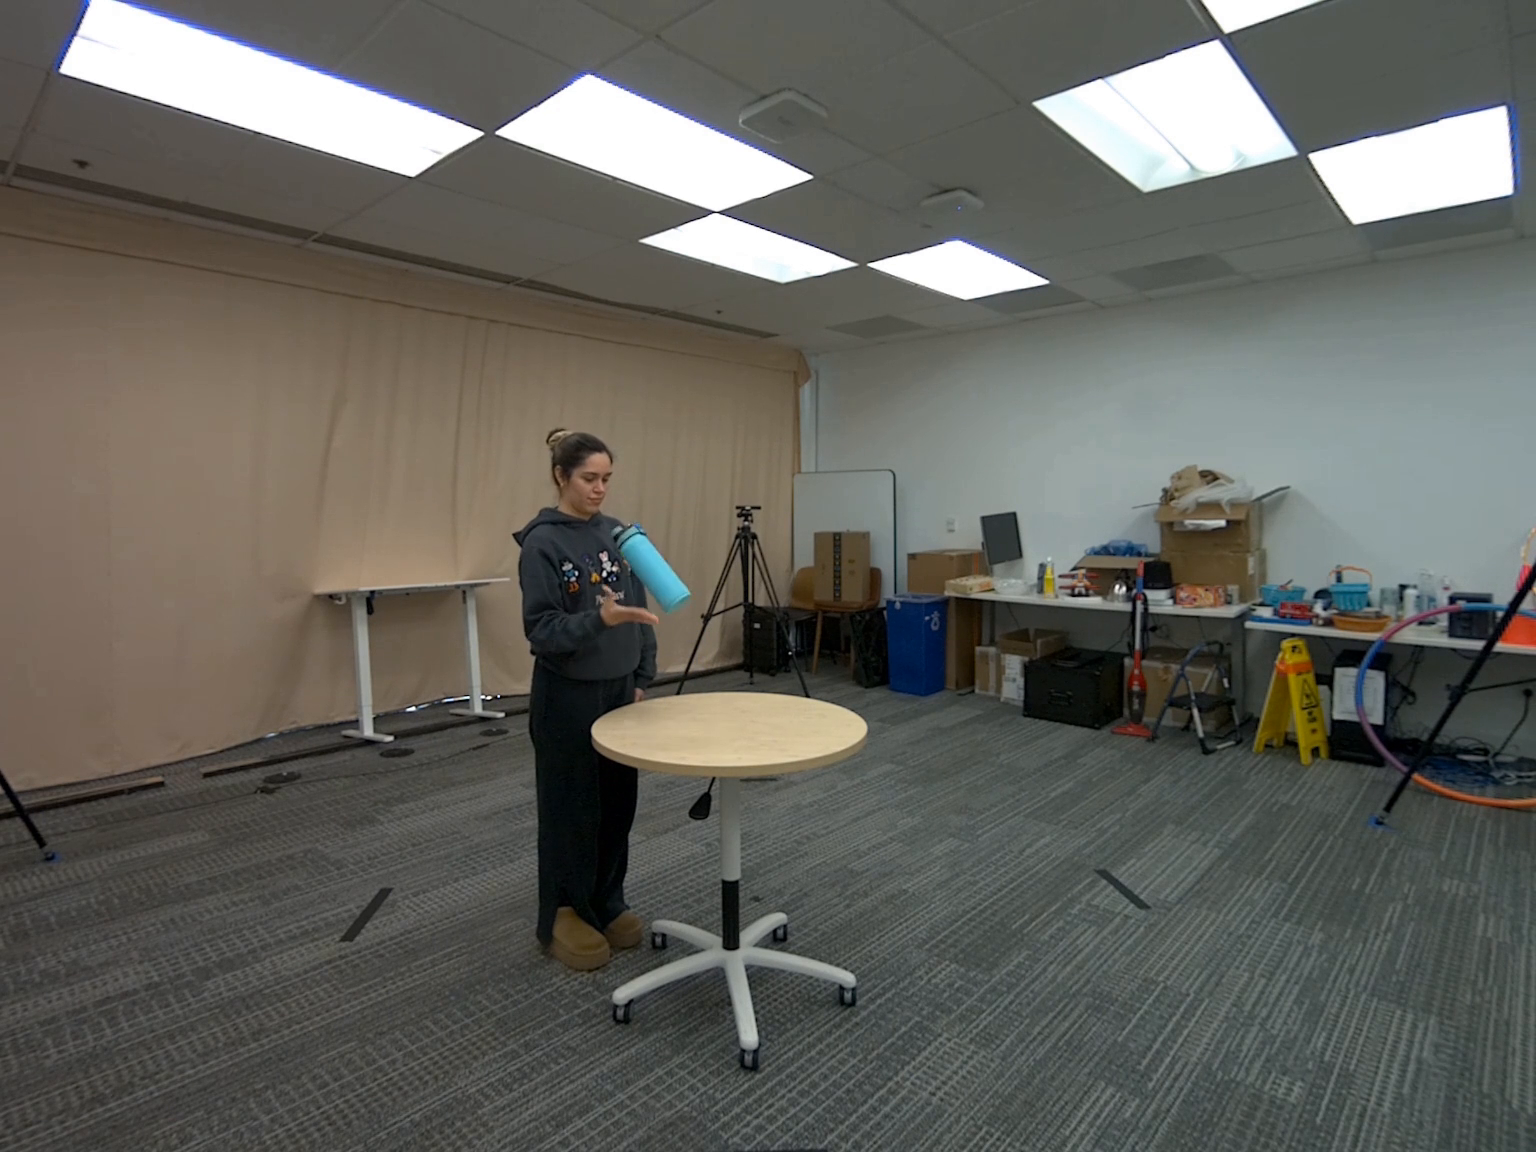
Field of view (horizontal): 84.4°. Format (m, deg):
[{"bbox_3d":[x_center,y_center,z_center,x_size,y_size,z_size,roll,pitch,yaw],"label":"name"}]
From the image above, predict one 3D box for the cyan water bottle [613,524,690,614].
[{"bbox_3d":[-0.328,0.011,2.376,0.092,0.287,0.091,-36,-12,-10],"label":"cyan water bottle"}]
